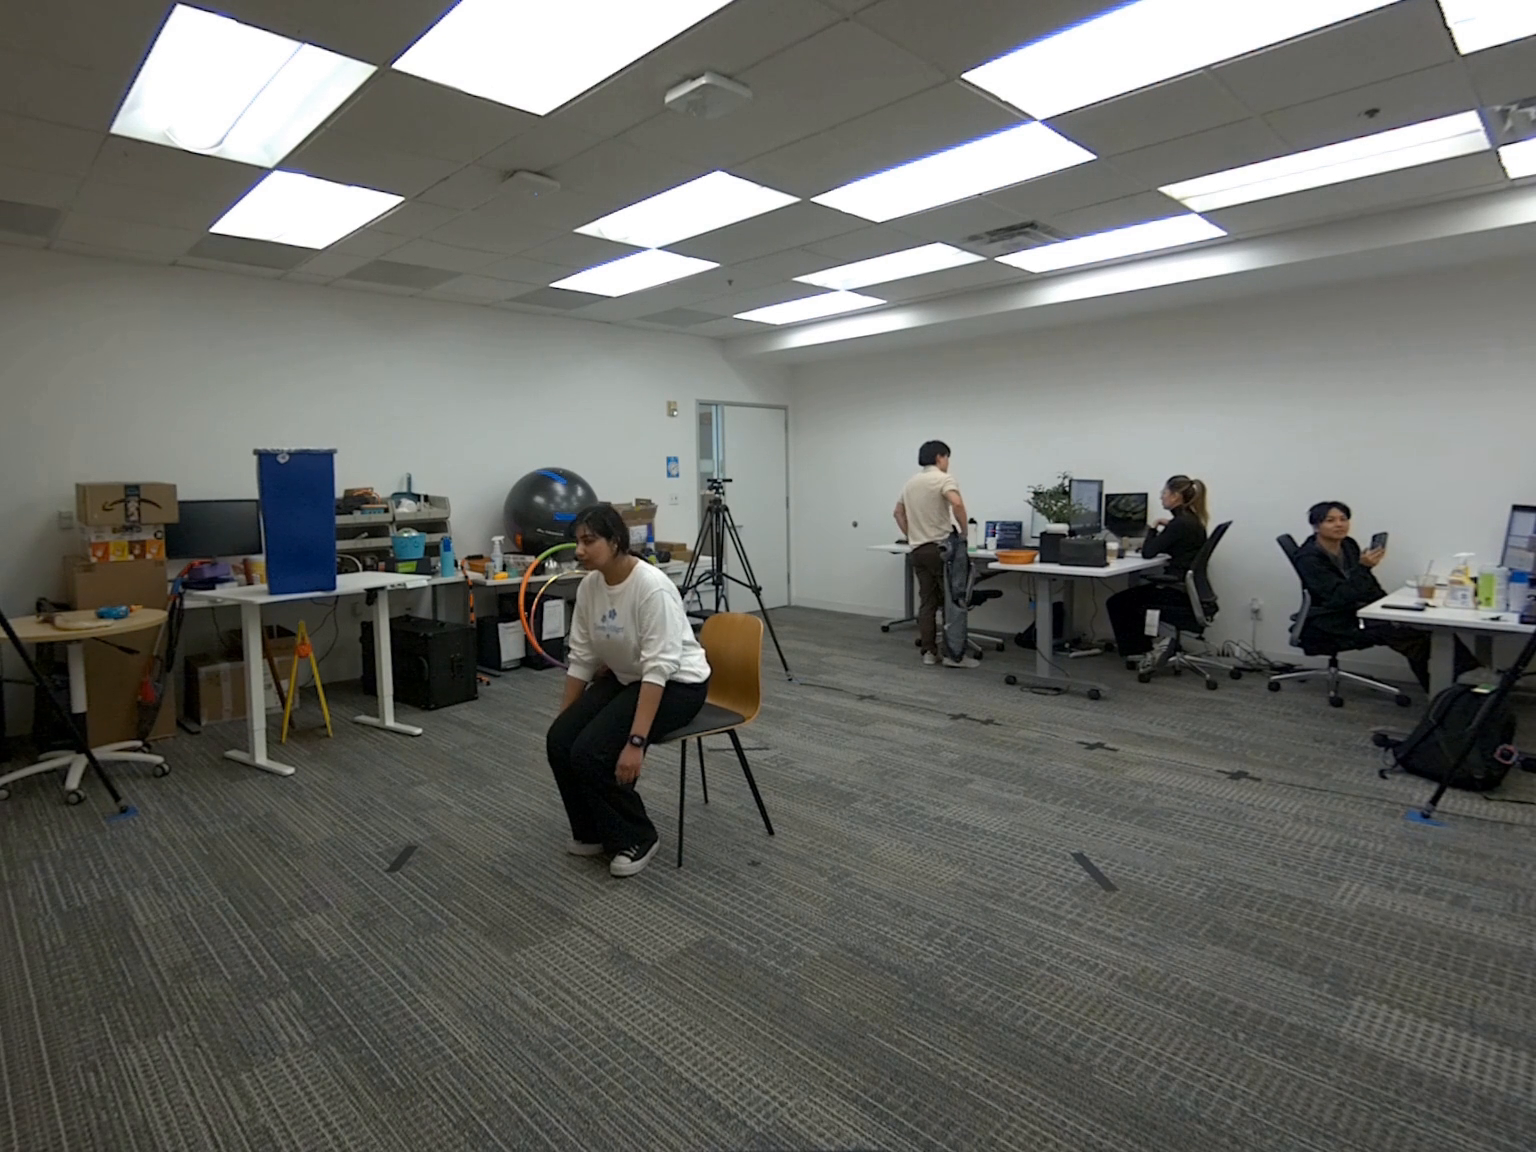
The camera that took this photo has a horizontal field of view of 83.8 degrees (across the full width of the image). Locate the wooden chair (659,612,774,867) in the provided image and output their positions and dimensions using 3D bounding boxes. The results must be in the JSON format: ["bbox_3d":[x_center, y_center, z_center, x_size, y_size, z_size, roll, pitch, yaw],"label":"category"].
[{"bbox_3d":[-0.301,0.593,3.356,0.508,0.876,0.492,0,2,-39],"label":"wooden chair"}]
